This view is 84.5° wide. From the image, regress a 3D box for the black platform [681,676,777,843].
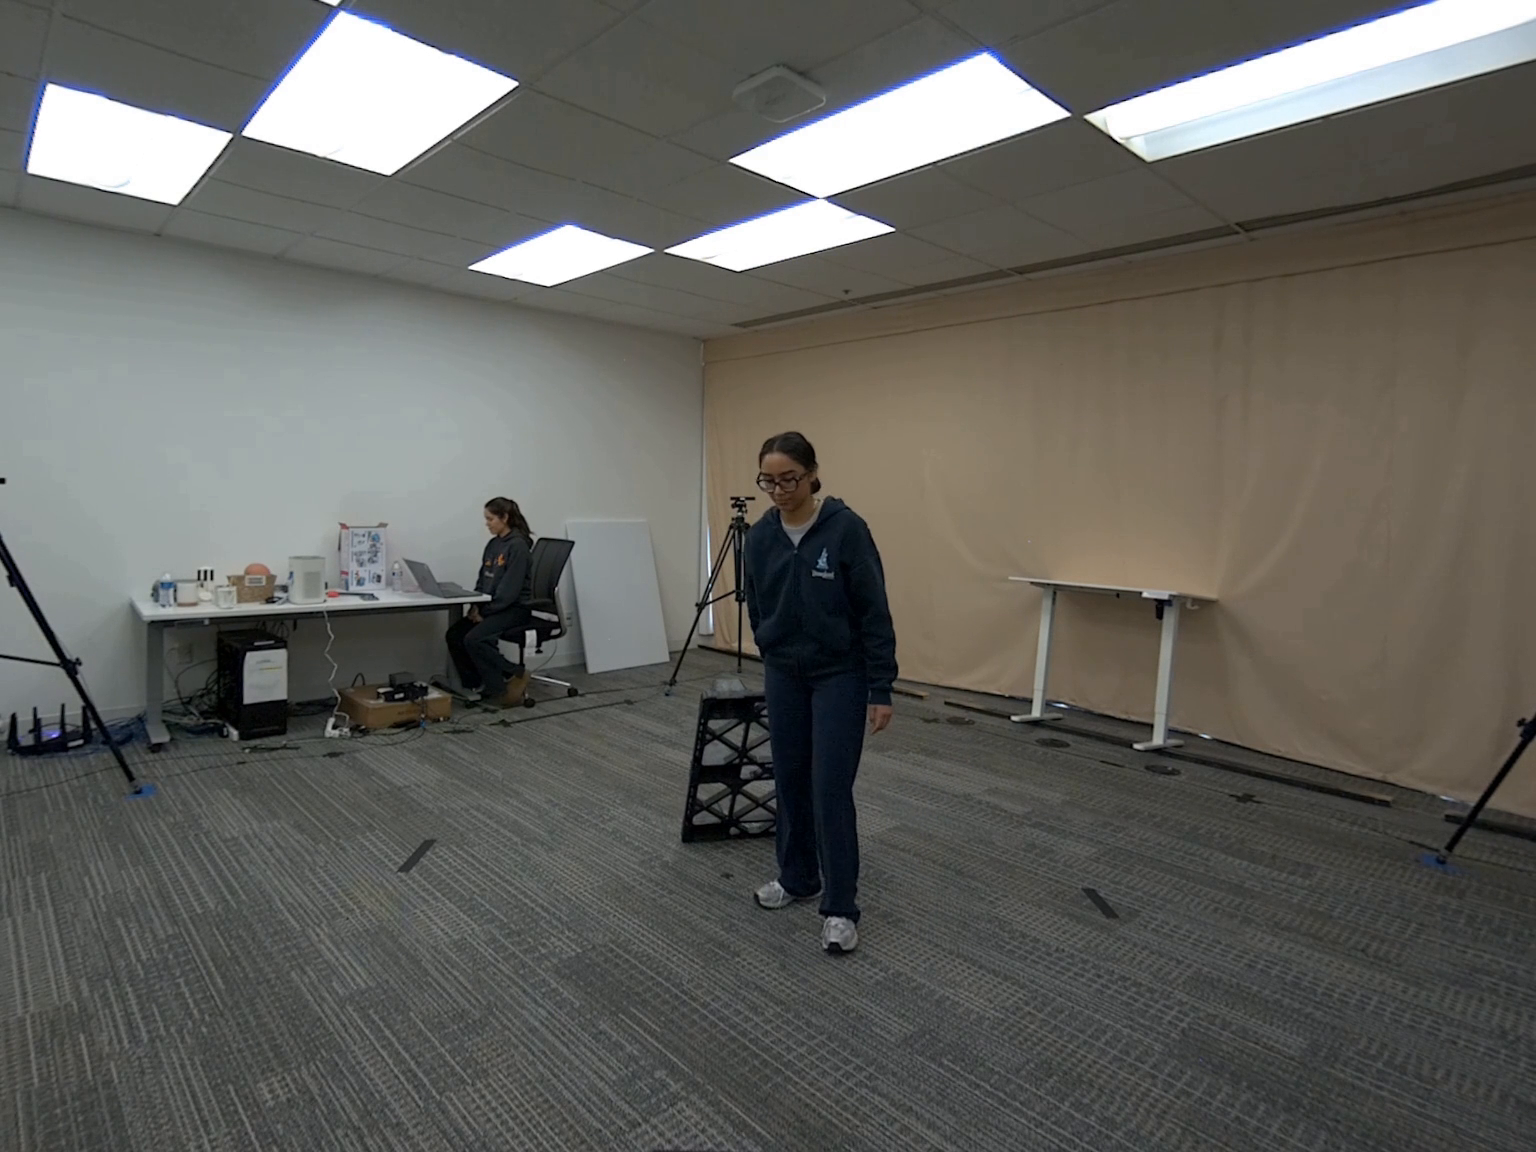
[{"bbox_3d":[-0.024,0.723,3.273,0.599,0.792,0.147,2,34,-12],"label":"black platform"}]
